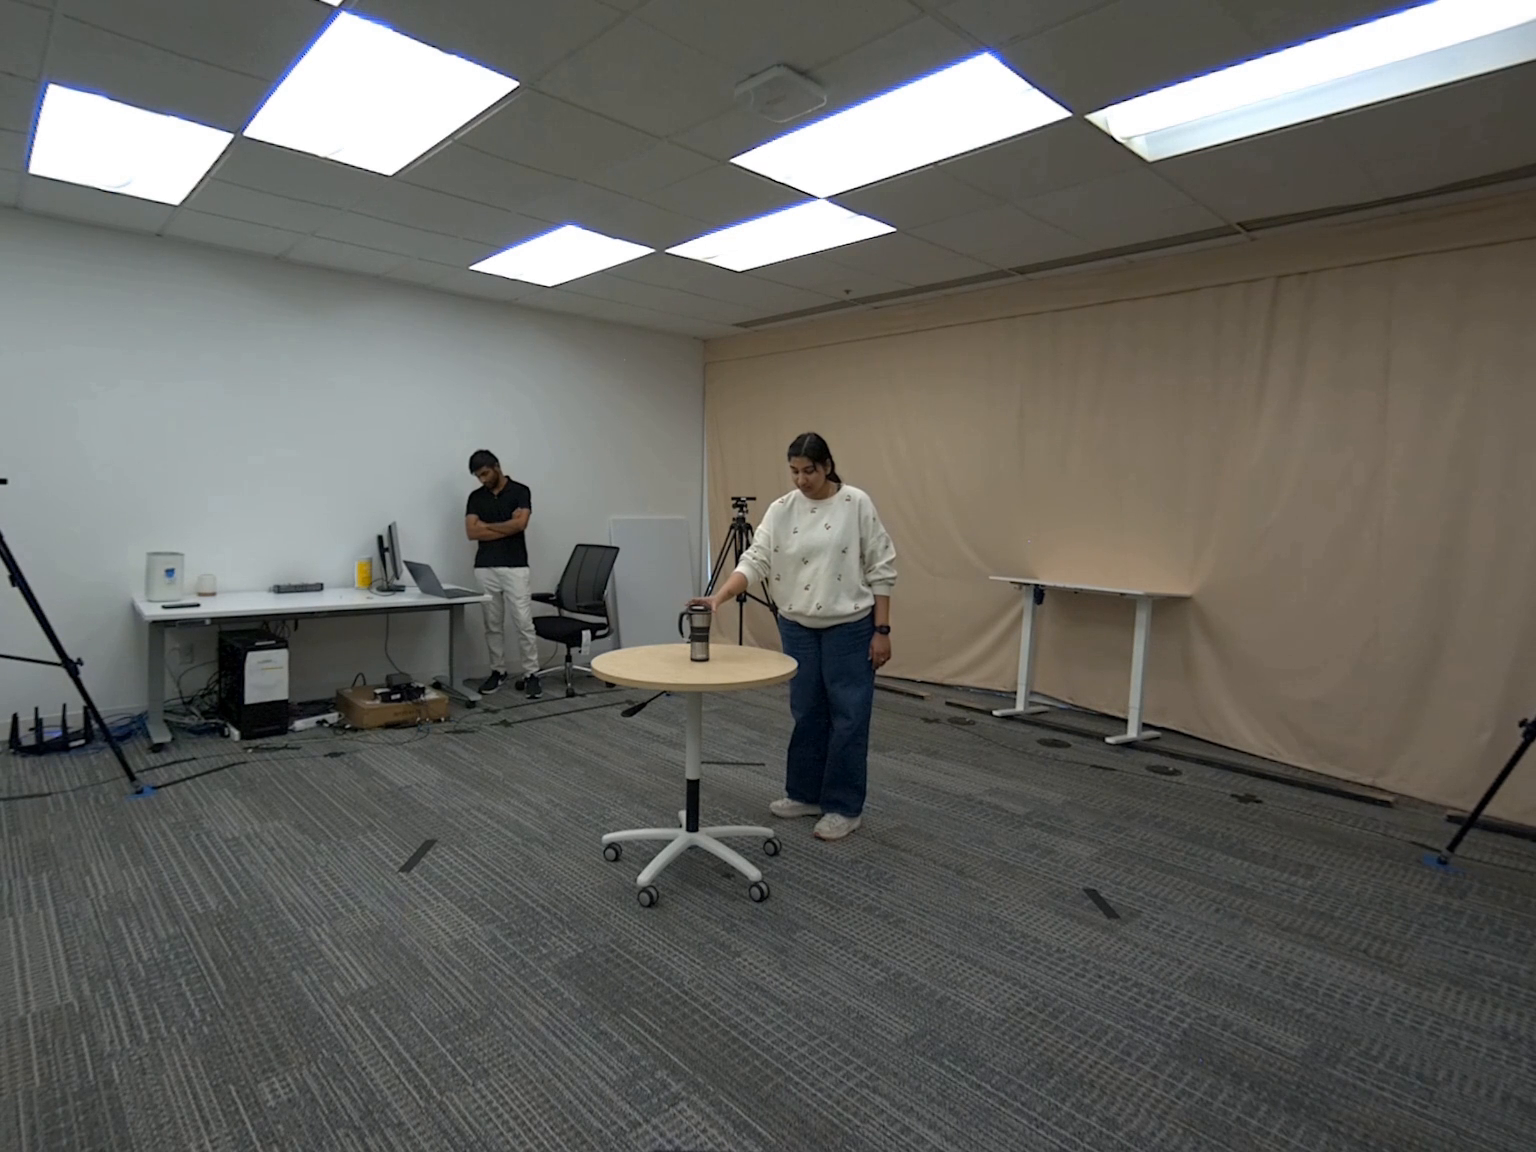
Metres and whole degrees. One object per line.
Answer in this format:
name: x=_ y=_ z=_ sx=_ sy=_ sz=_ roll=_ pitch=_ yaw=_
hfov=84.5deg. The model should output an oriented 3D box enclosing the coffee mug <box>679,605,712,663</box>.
coffee mug: x=-0.285 y=0.220 z=3.165 sx=0.125 sy=0.202 sz=0.086 roll=6 pitch=8 yaw=42
